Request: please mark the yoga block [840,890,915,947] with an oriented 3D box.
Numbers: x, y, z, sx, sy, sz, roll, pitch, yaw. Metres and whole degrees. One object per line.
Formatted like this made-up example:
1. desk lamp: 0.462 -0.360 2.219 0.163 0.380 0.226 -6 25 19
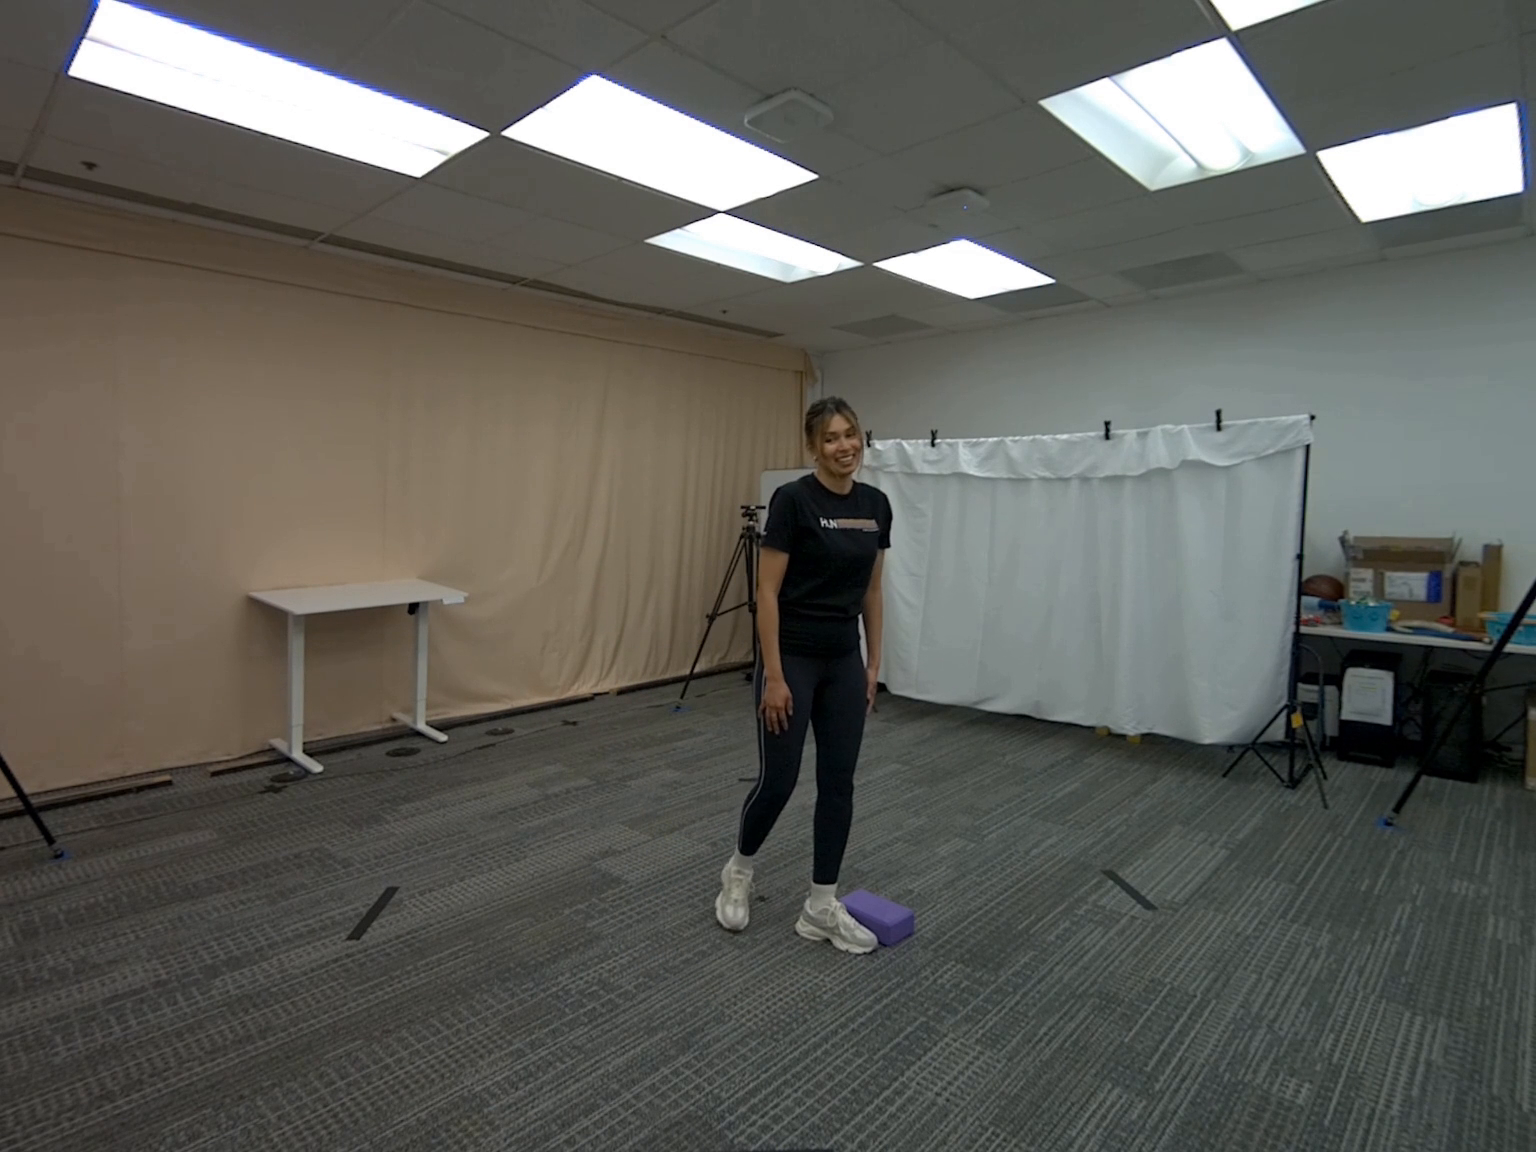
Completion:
1. yoga block: 0.352 1.120 2.766 0.144 0.076 0.237 -3 6 -45
